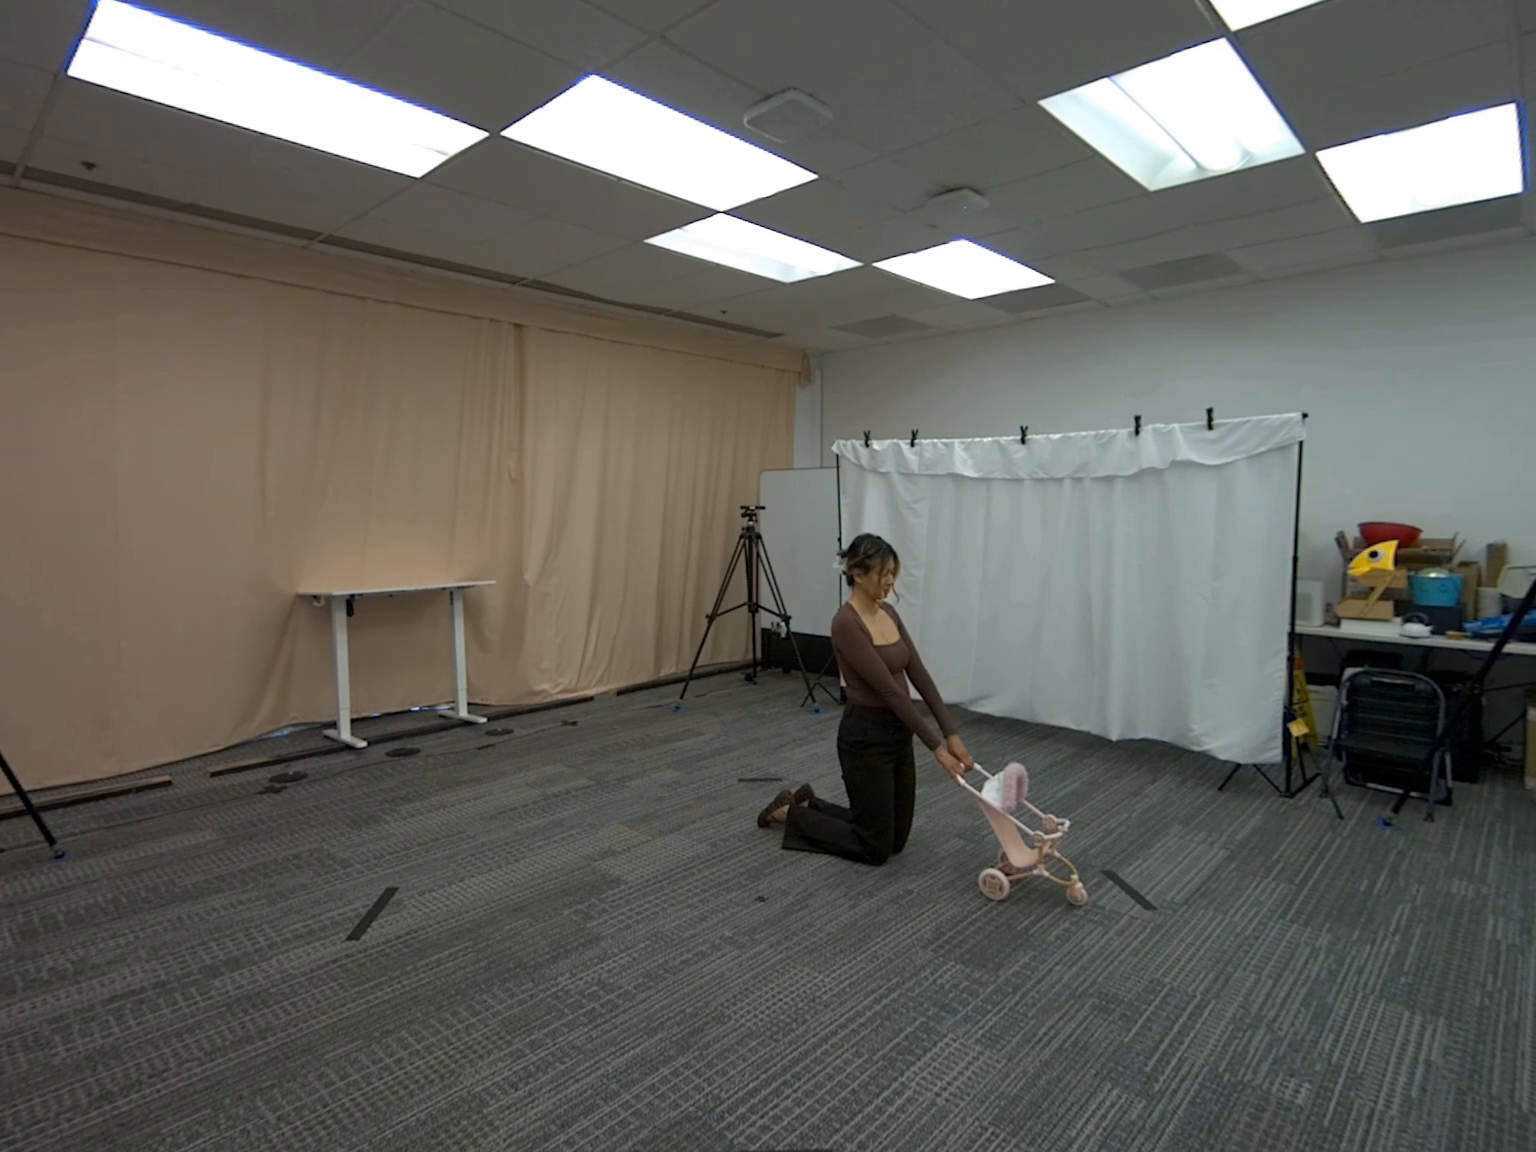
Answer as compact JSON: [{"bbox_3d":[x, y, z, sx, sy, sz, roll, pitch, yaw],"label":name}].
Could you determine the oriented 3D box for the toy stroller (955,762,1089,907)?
[{"bbox_3d":[0.917,0.915,3.026,0.349,0.538,0.273,-20,-9,37],"label":"toy stroller"}]
